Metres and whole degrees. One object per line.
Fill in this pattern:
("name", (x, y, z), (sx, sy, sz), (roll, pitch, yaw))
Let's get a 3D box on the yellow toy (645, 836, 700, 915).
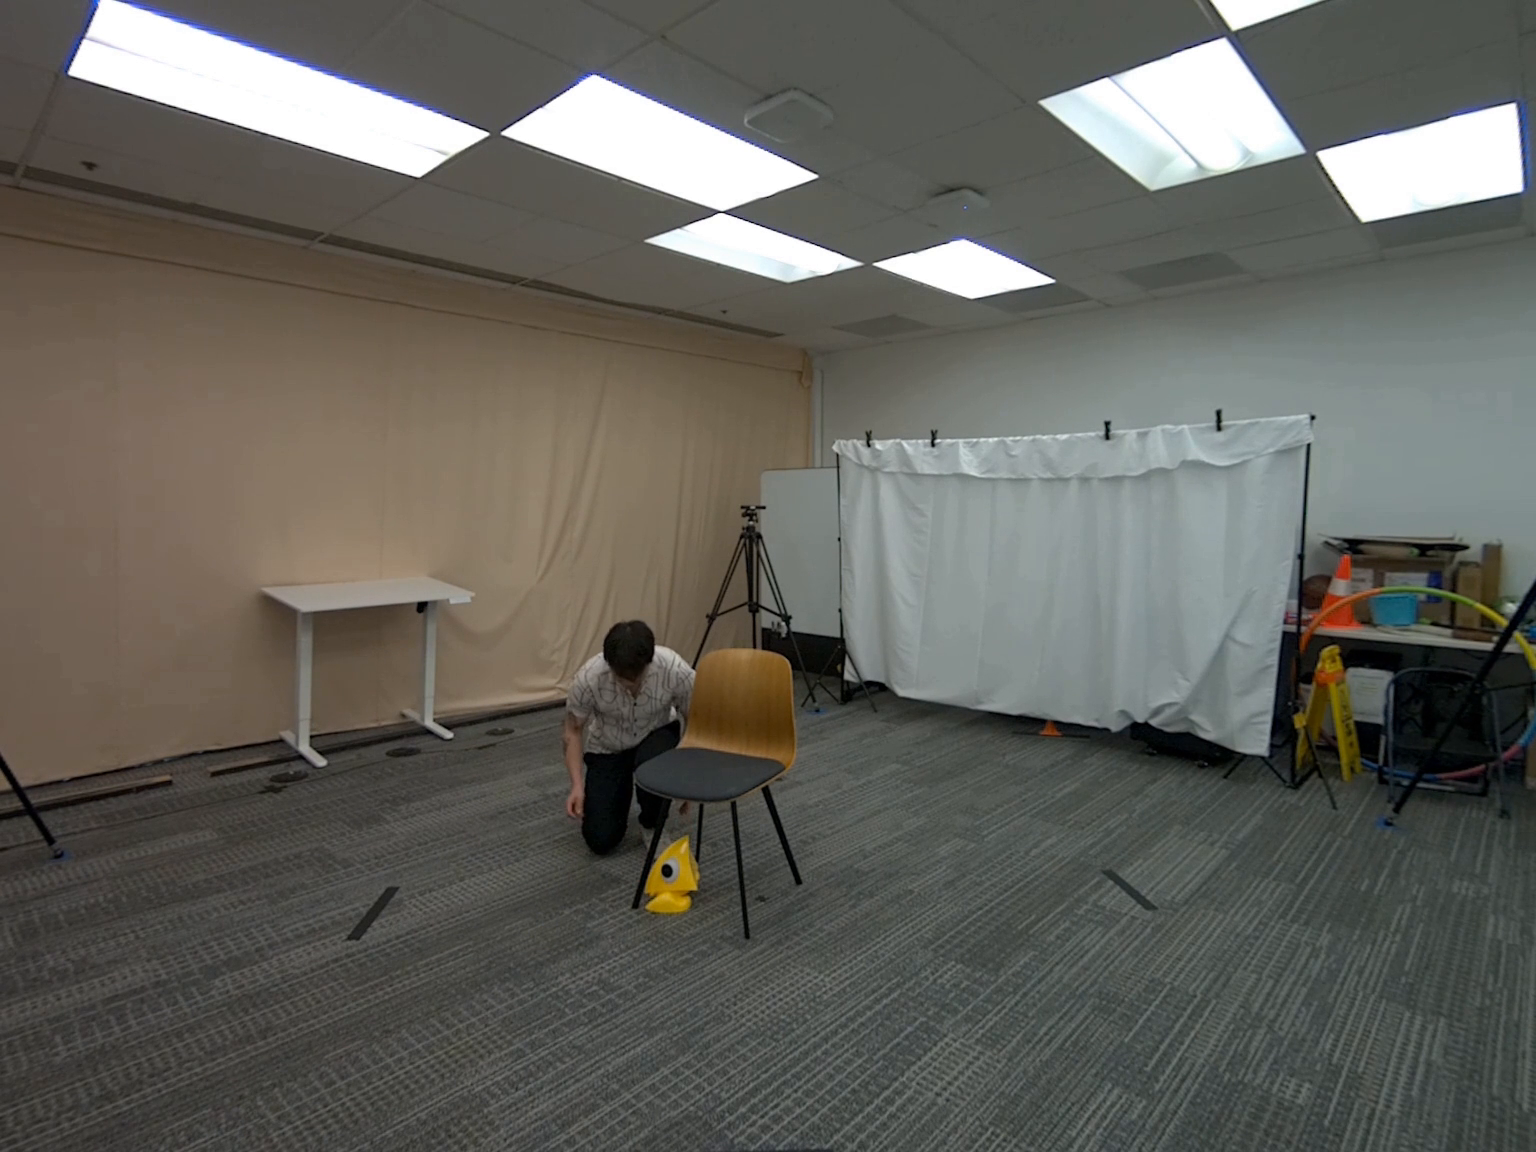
("yellow toy", (-0.341, 1.031, 2.975), (0.192, 0.230, 0.206), (0, 4, -3))
